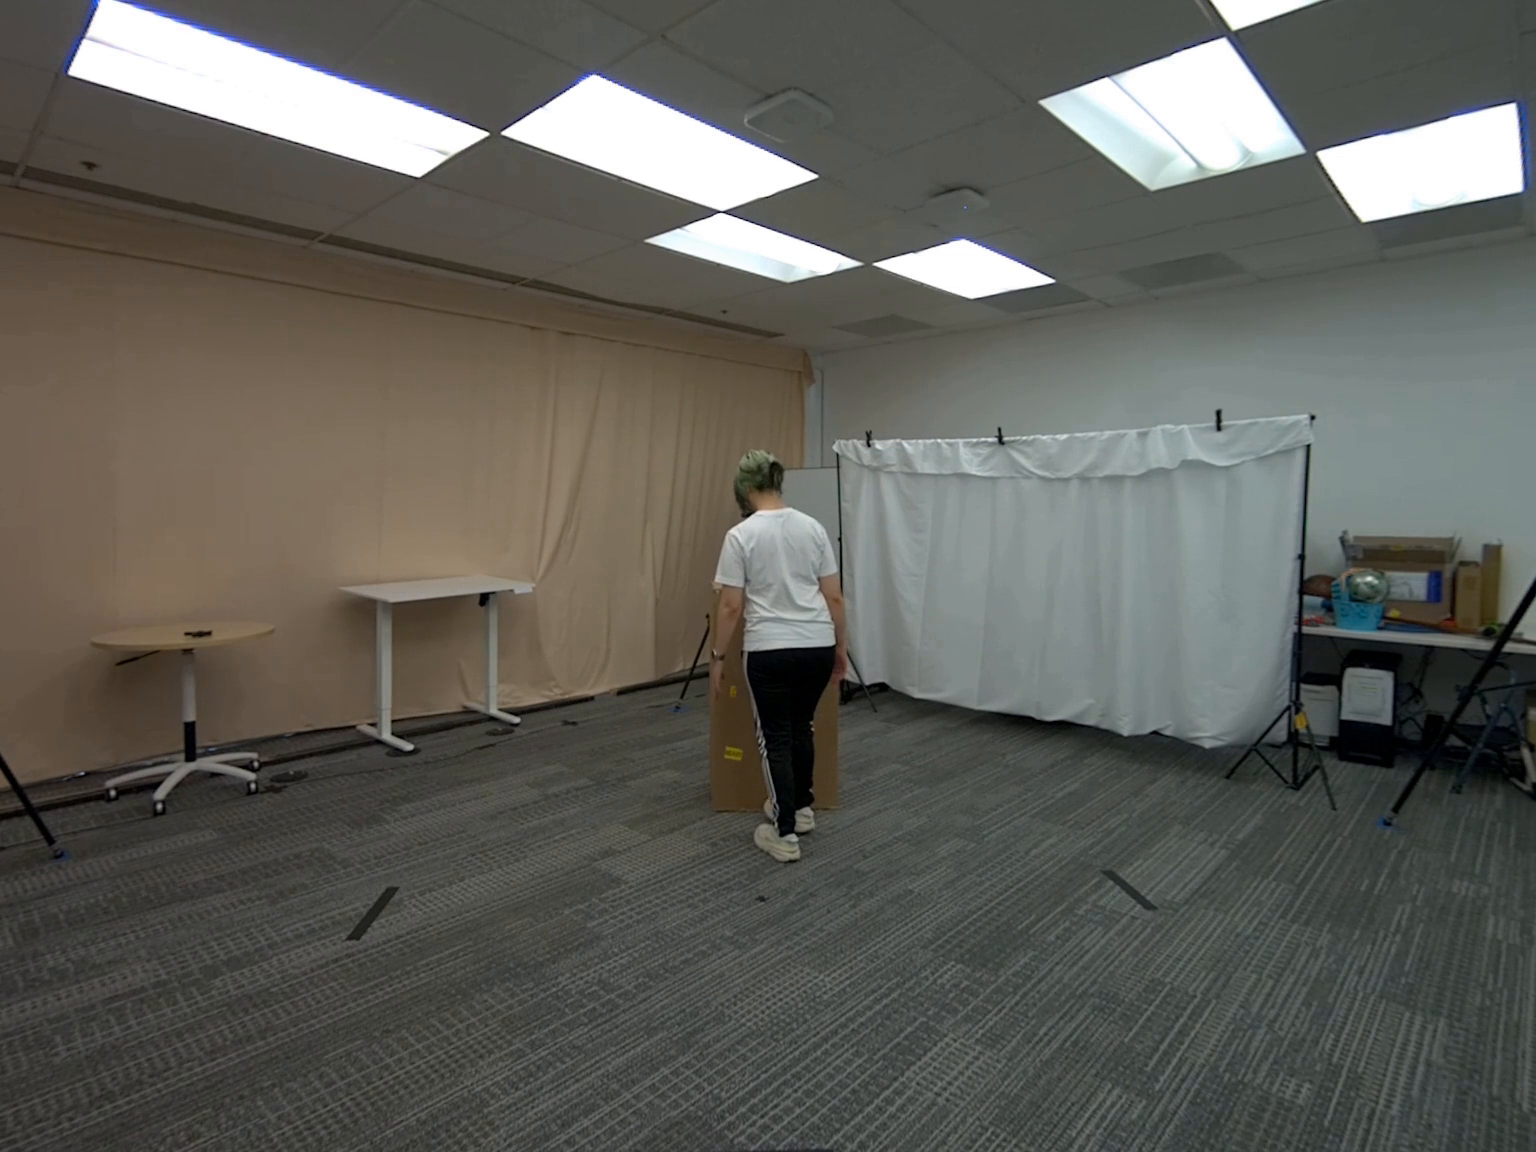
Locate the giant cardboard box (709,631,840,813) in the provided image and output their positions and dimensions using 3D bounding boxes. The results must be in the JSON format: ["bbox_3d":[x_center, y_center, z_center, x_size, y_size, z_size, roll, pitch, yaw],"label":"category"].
[{"bbox_3d":[0.014,0.549,4.040,0.581,1.026,0.449,0,2,-5],"label":"giant cardboard box"}]
